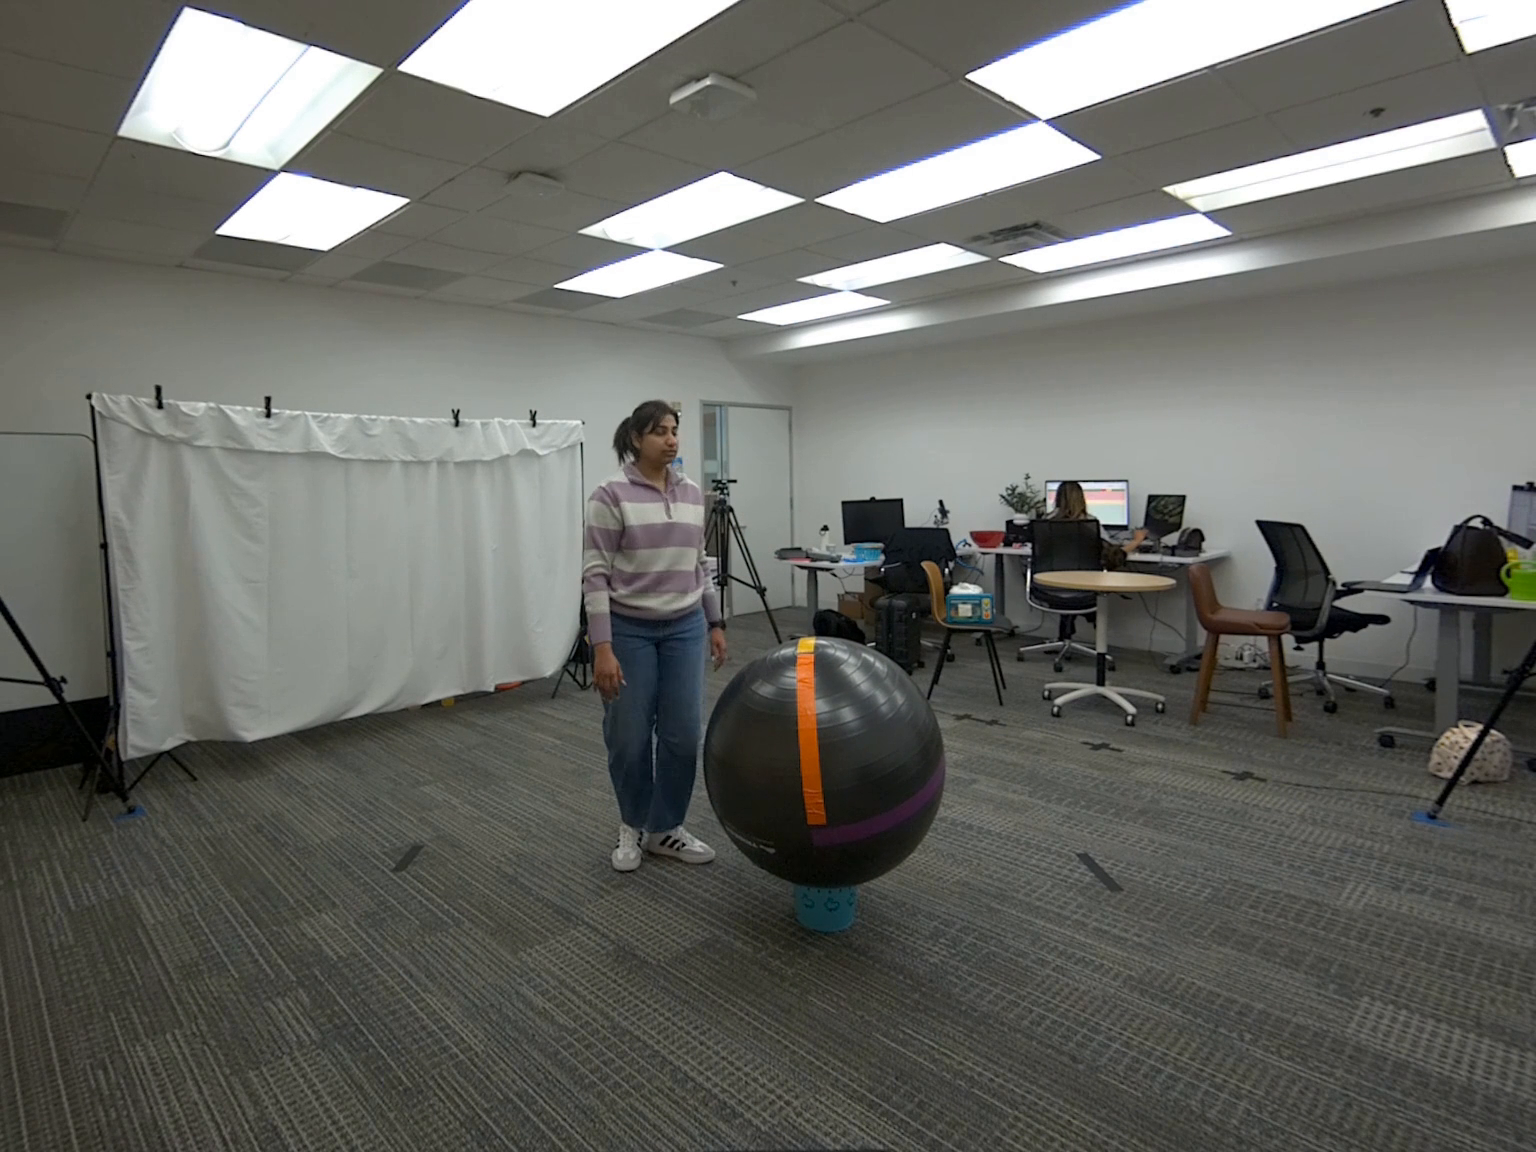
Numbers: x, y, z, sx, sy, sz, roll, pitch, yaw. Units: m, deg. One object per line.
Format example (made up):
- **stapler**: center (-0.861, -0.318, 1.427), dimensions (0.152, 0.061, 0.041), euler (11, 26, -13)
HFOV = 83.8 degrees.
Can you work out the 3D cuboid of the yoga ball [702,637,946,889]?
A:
- **yoga ball**: center (0.183, 0.583, 2.681), dimensions (0.757, 0.755, 0.762), euler (-1, 5, -2)
